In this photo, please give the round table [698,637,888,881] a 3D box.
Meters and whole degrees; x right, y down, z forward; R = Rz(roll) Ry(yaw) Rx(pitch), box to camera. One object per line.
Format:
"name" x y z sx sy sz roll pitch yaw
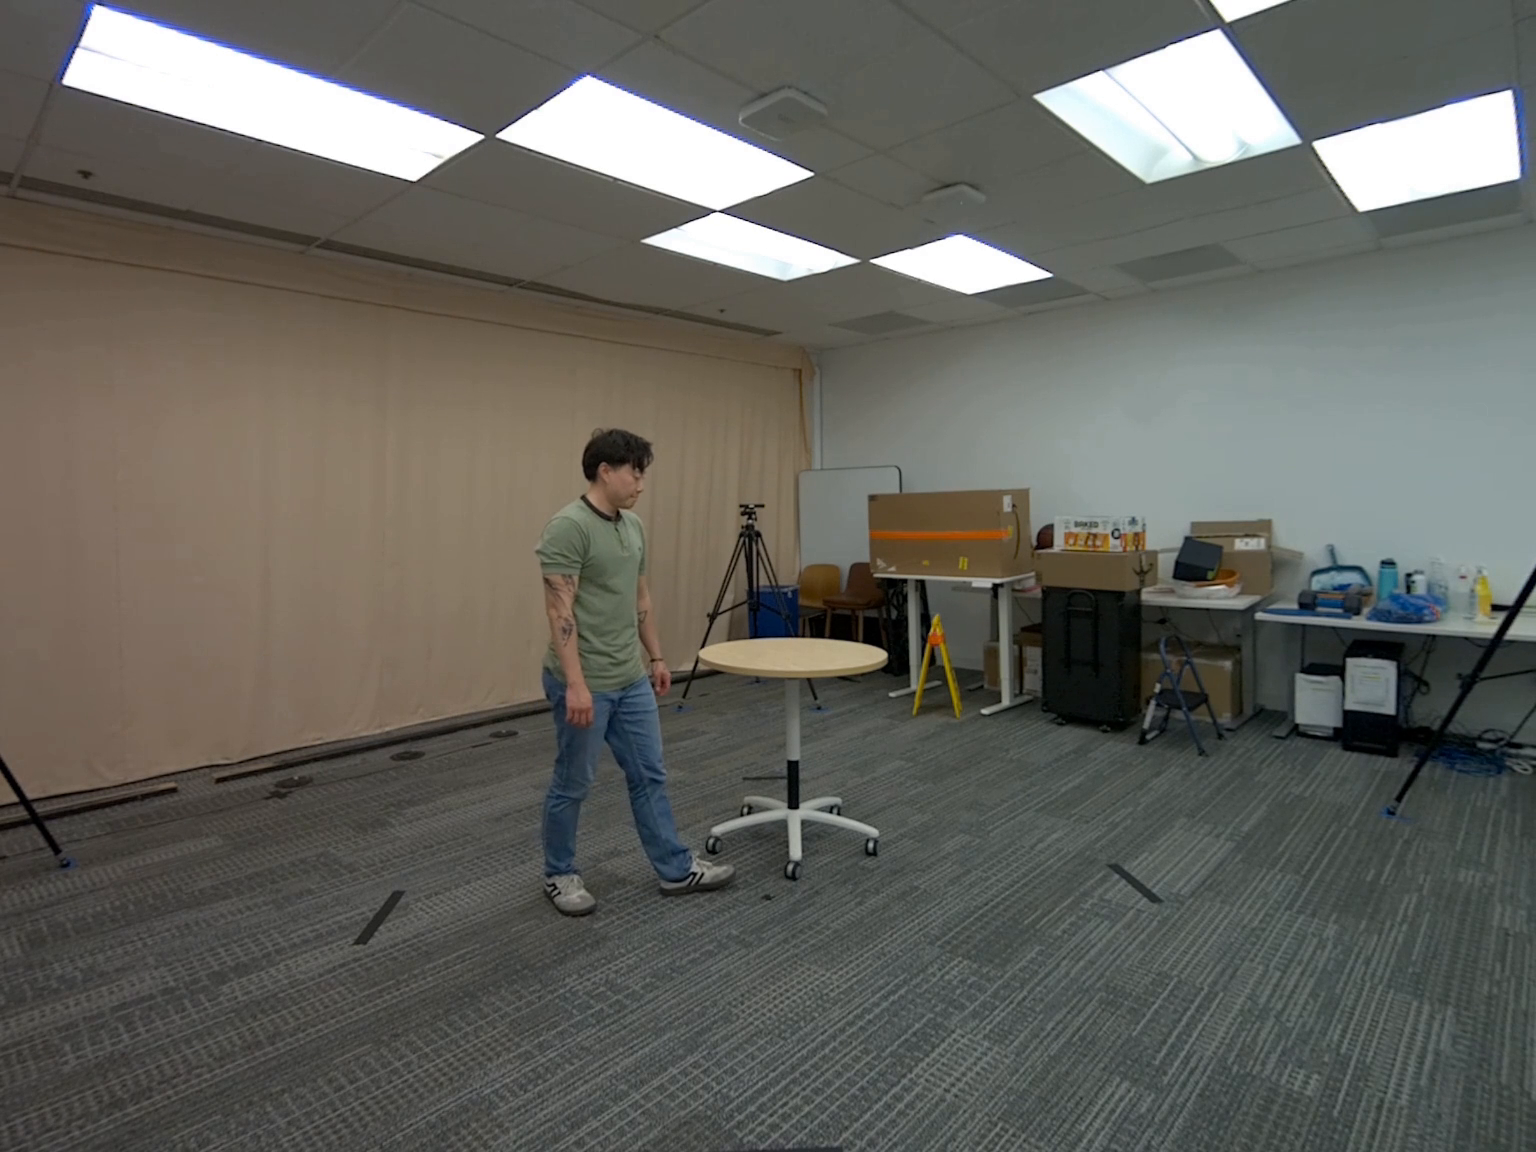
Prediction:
"round table" 0.109 0.708 3.456 0.763 0.792 0.766 0 3 -2
